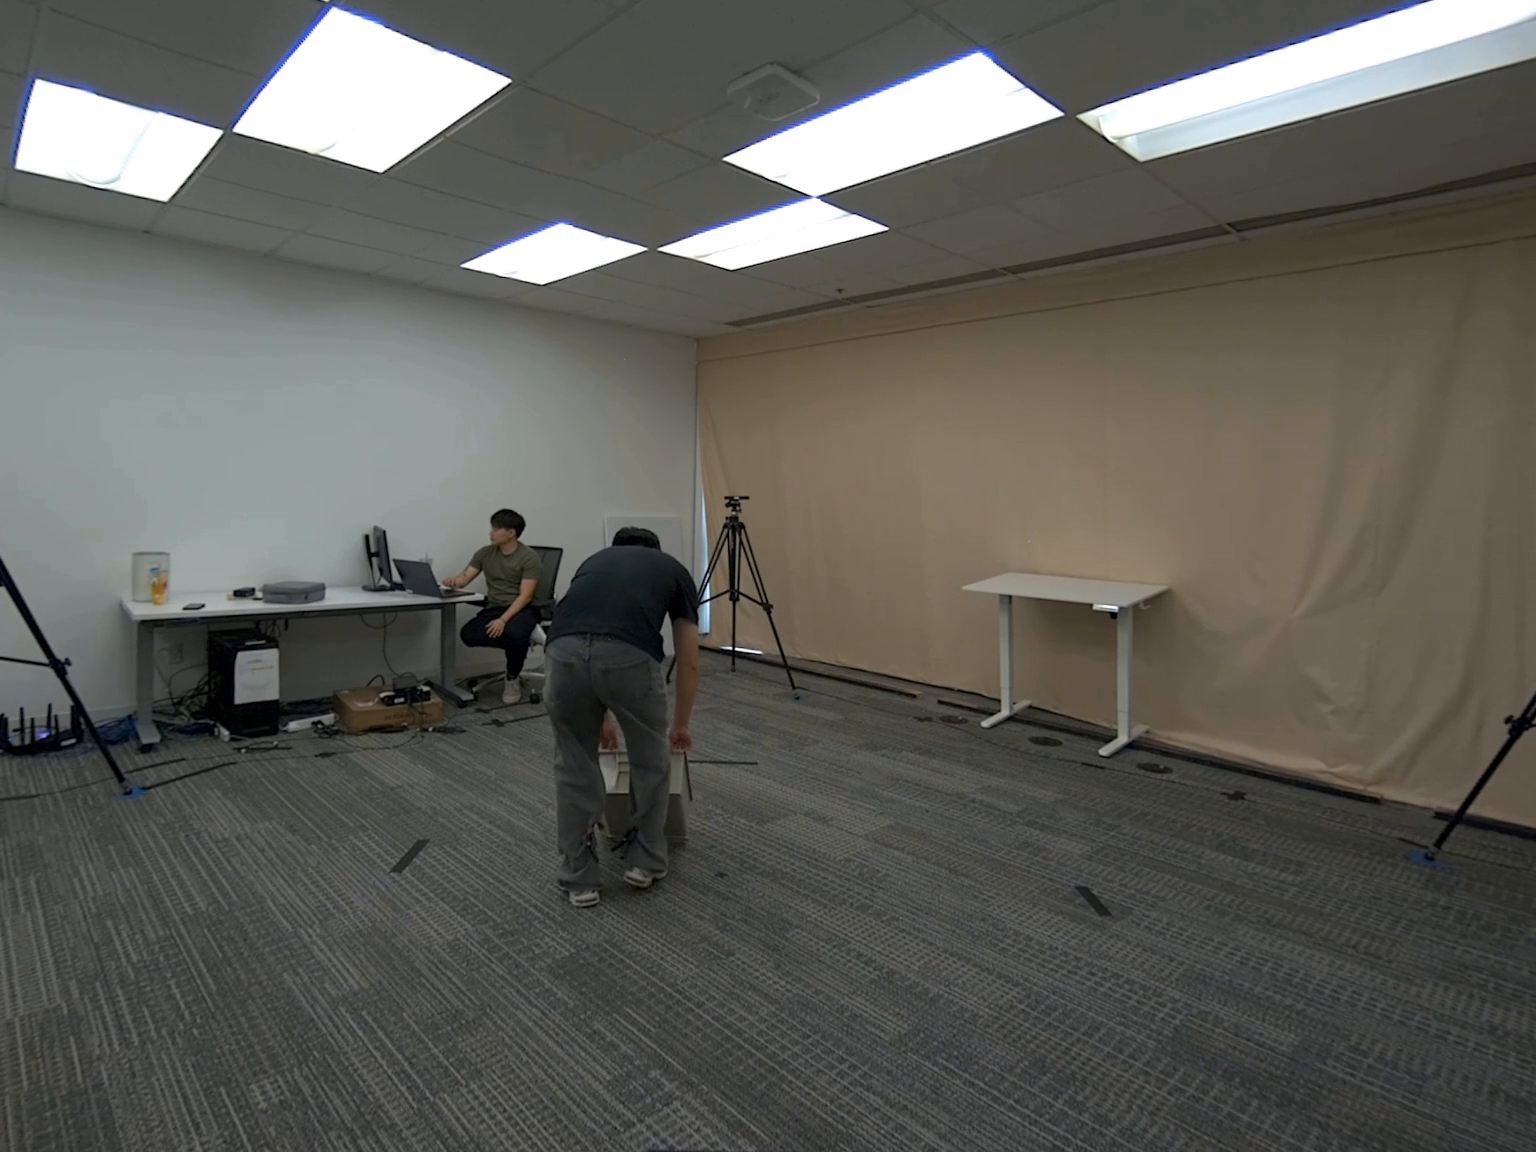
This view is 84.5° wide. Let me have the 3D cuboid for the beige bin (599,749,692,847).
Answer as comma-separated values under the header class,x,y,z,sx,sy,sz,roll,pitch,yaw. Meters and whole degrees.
class,x,y,z,sx,sy,sz,roll,pitch,yaw
beige bin,-0.504,0.866,3.295,0.378,0.193,0.413,2,-41,2
